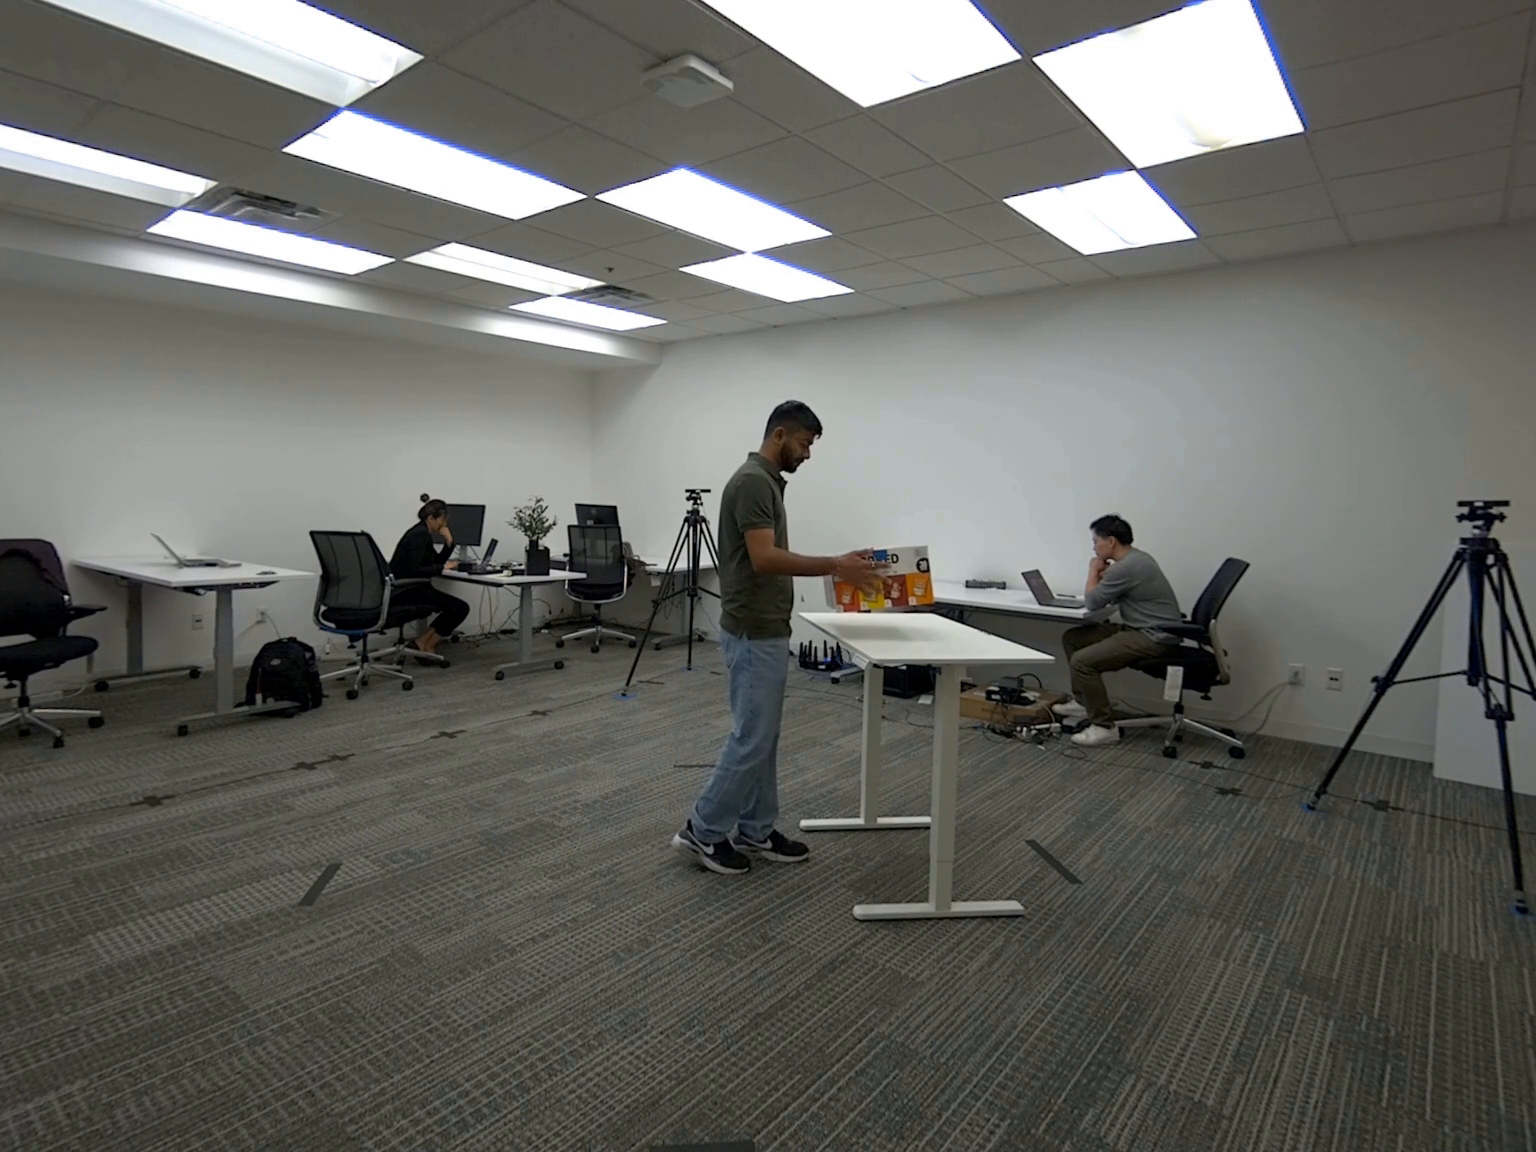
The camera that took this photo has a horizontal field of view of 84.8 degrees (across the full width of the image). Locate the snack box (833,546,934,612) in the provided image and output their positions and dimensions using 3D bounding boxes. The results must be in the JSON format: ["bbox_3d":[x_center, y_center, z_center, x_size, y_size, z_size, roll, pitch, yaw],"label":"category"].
[{"bbox_3d":[0.379,0.007,3.134,0.341,0.206,0.404,-7,1,0],"label":"snack box"}]
